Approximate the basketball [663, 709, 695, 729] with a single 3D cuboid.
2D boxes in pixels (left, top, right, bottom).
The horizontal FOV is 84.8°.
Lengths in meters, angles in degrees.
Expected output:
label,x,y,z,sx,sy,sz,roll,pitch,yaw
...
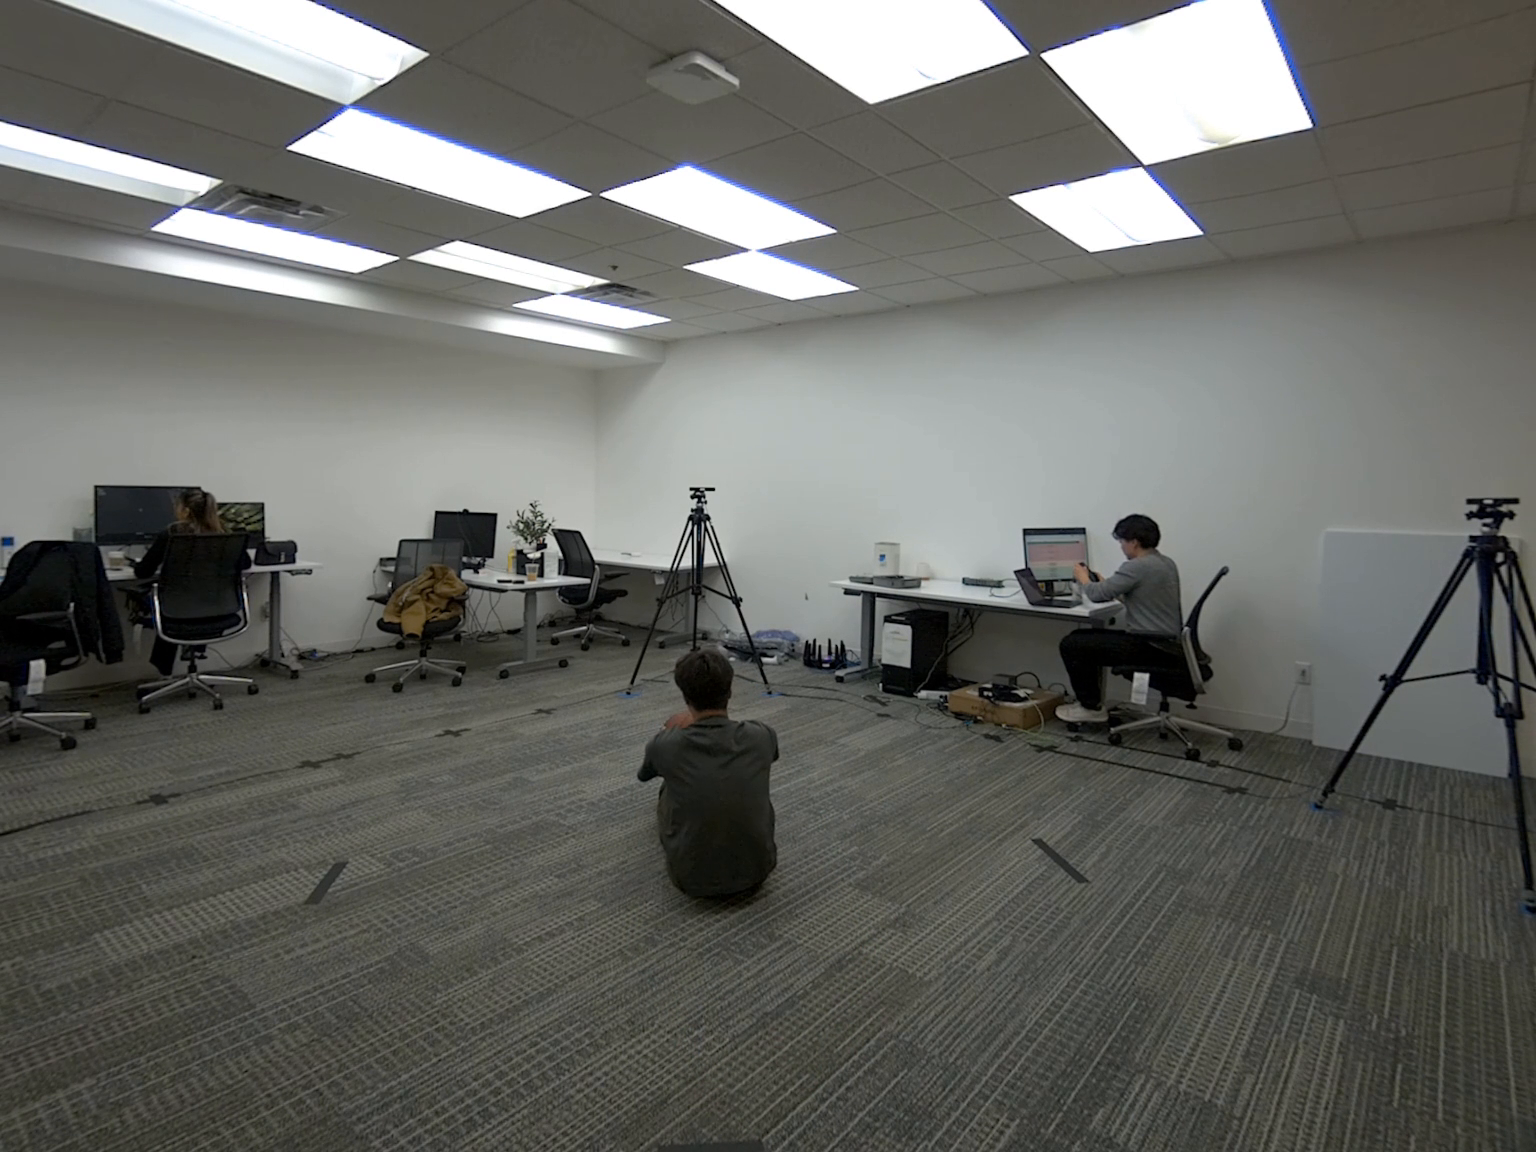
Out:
label,x,y,z,sx,sy,sz,roll,pitch,yaw
basketball,-0.356,0.685,3.577,0.235,0.235,0.237,1,4,-2
